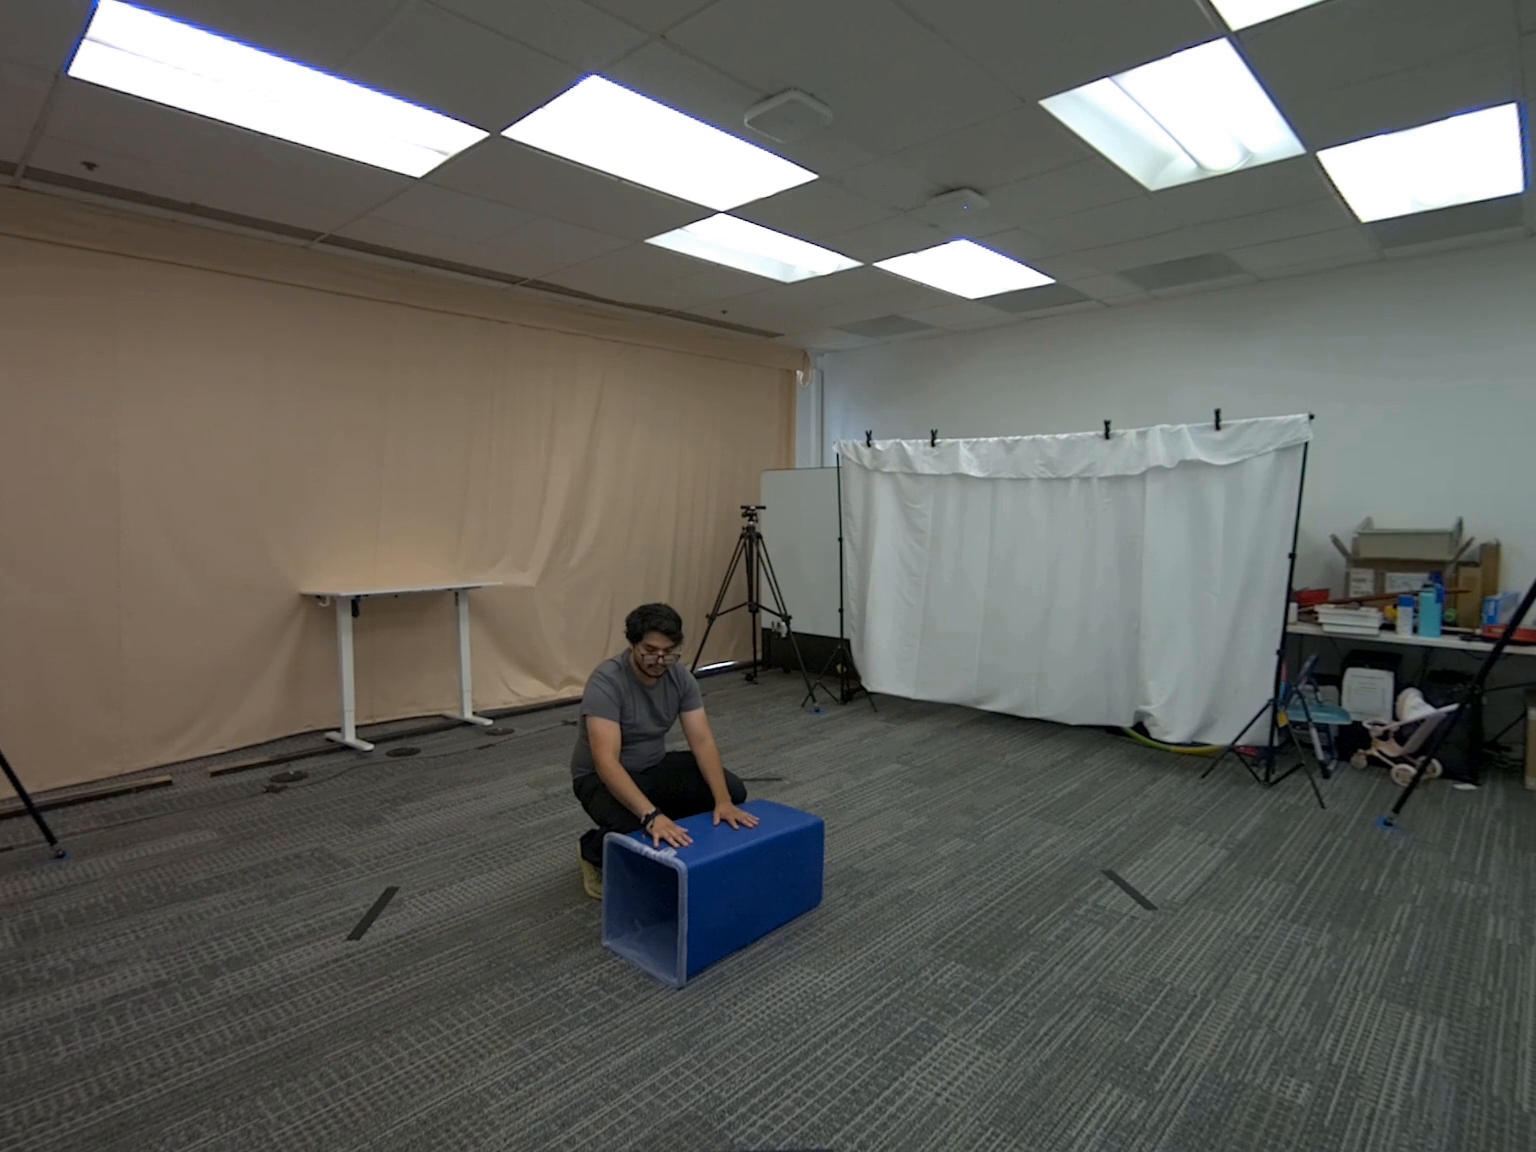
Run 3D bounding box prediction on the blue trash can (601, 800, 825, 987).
[{"bbox_3d":[-0.142,0.989,2.783,0.386,0.377,0.691,3,3,44],"label":"blue trash can"}]
